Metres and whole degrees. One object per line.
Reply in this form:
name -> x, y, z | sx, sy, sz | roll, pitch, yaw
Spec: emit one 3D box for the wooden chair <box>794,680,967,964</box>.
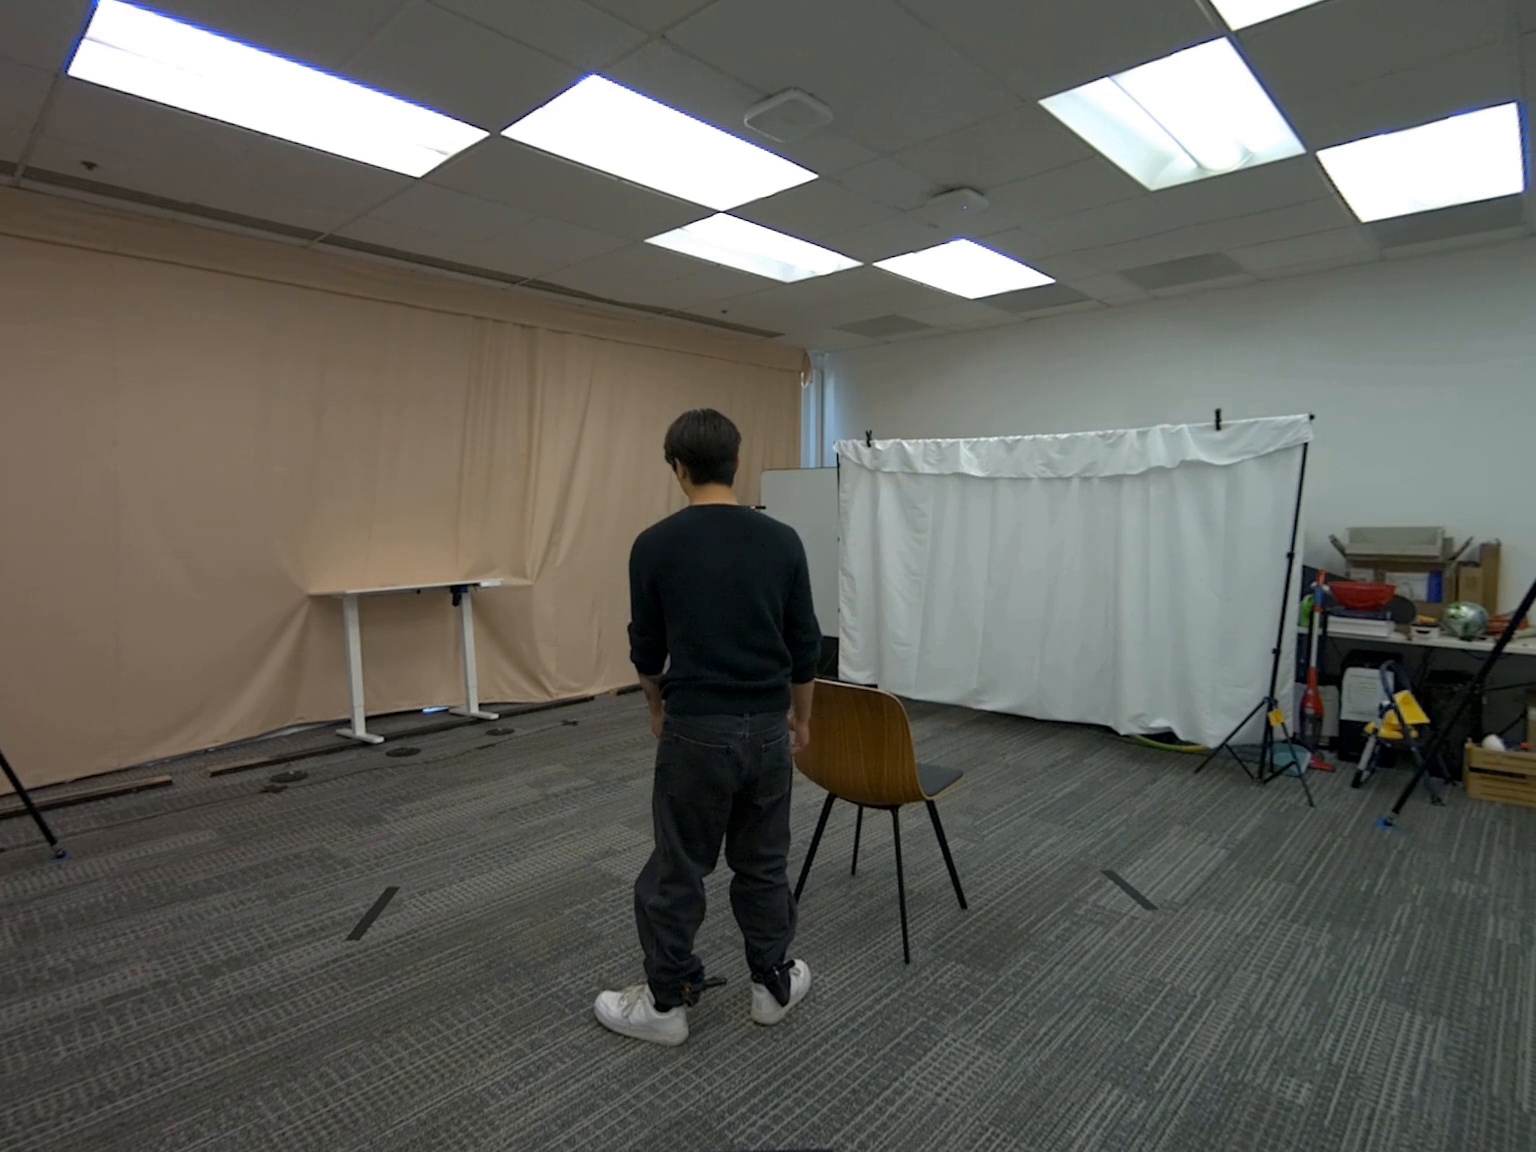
wooden chair -> 0.379, 0.724, 2.843 | 0.493, 0.873, 0.509 | 2, 8, 37
